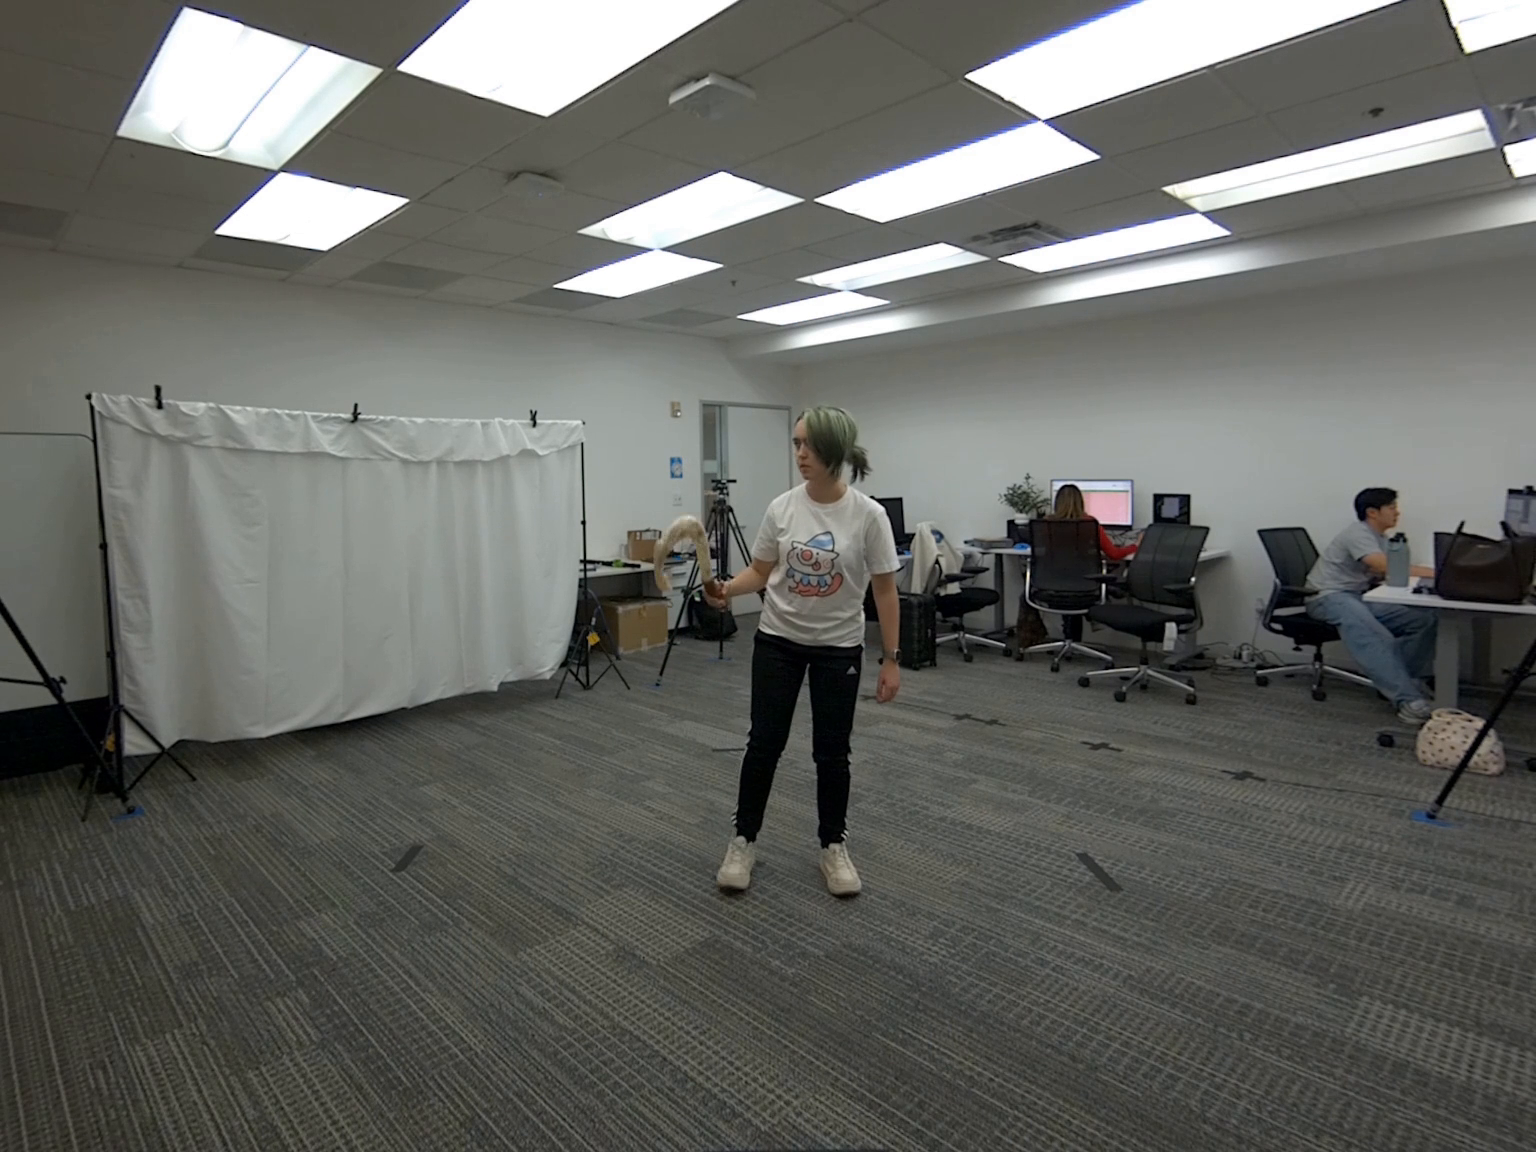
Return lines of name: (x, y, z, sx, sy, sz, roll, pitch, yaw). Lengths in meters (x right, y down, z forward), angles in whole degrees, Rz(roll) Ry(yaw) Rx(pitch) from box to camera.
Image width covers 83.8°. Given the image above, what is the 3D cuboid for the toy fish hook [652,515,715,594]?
toy fish hook: (-0.237, 0.011, 2.659, 0.050, 0.225, 0.488, 29, -22, 33)
